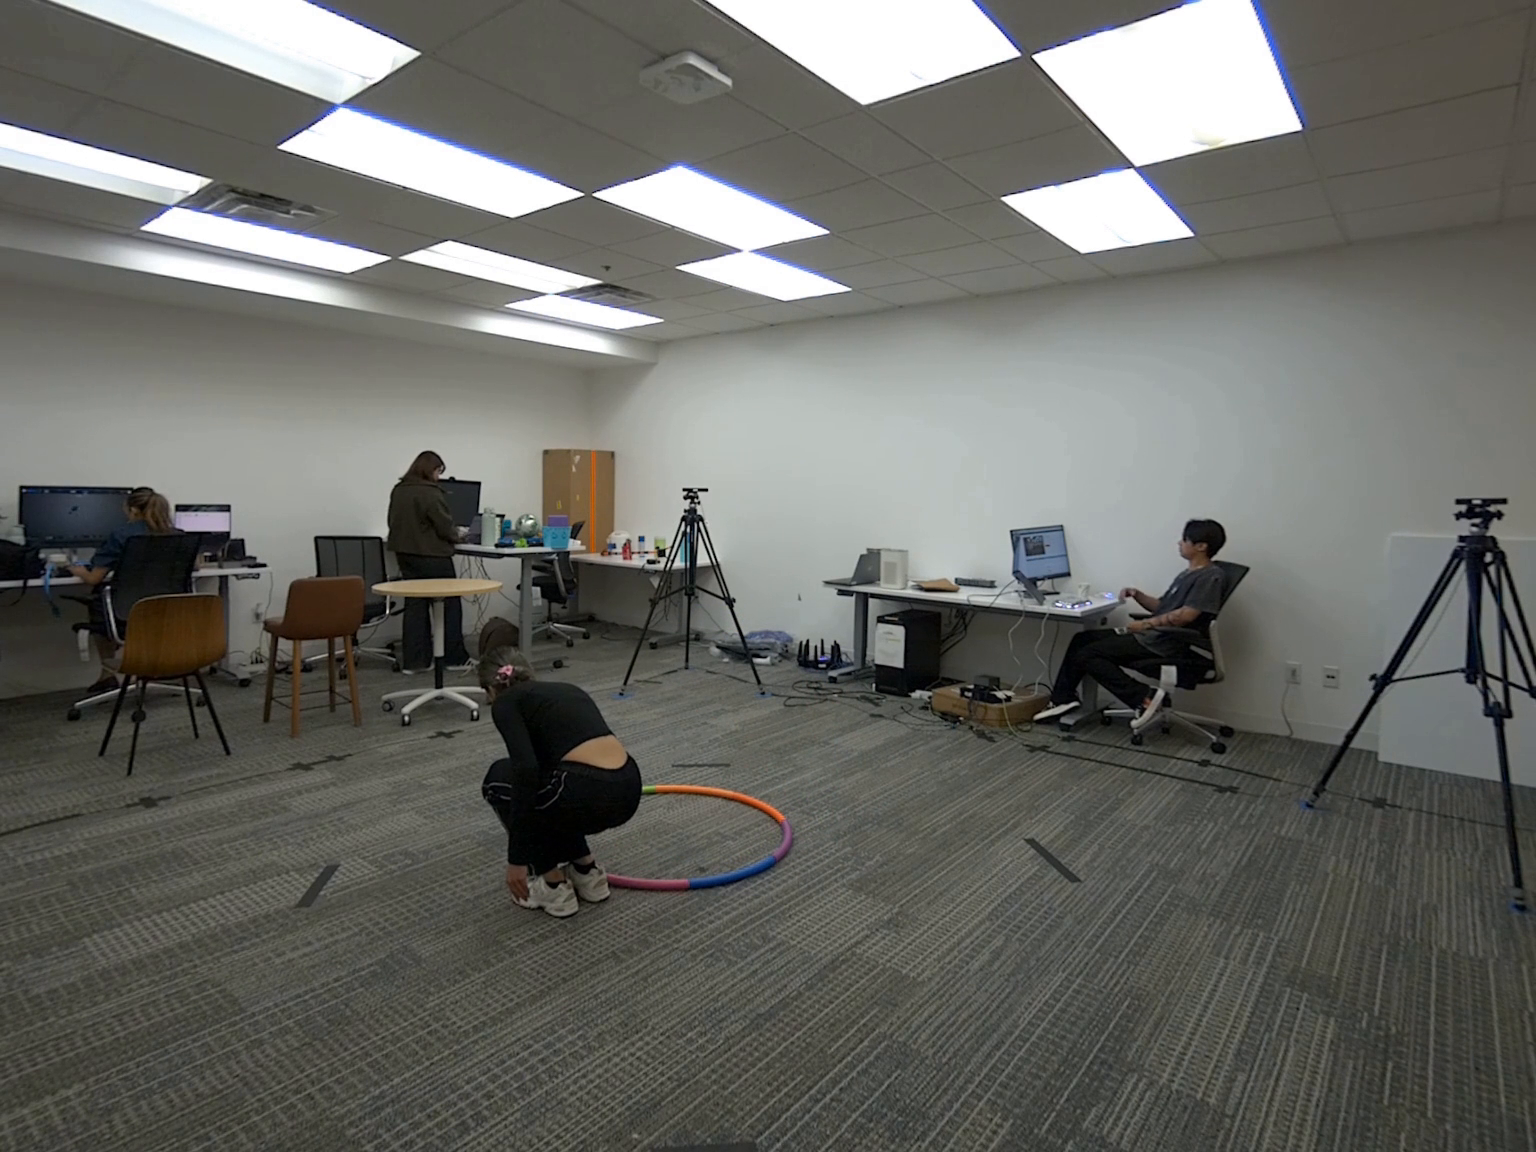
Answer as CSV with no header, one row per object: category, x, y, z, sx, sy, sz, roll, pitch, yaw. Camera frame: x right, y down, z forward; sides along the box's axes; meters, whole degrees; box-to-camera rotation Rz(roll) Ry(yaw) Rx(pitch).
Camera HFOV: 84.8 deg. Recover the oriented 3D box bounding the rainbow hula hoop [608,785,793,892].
rainbow hula hoop,-0.398,1.002,3.414,0.978,0.035,0.984,1,6,-2
